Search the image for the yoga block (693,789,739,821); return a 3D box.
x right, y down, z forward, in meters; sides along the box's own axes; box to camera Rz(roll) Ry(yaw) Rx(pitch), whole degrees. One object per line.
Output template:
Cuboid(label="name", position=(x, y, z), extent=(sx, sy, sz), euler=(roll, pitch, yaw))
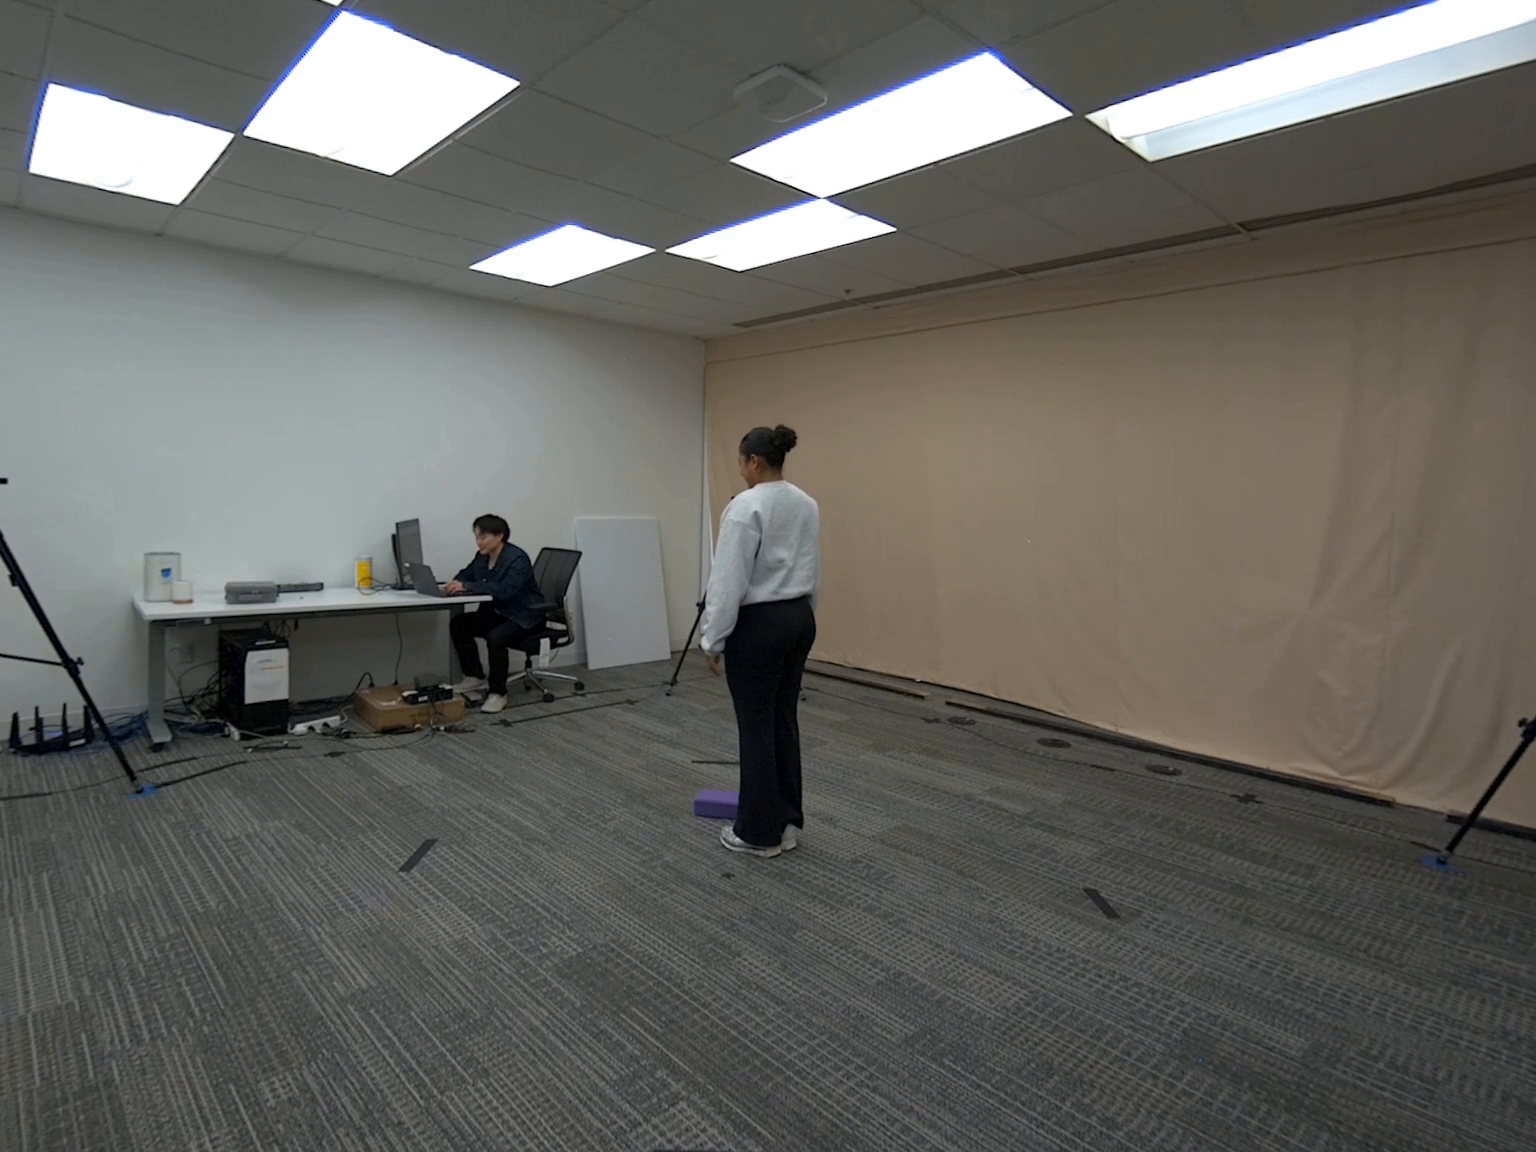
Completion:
Cuboid(label="yoga block", position=(-0.213, 1.008, 3.728), extent=(0.231, 0.076, 0.148), euler=(1, 6, 11))
